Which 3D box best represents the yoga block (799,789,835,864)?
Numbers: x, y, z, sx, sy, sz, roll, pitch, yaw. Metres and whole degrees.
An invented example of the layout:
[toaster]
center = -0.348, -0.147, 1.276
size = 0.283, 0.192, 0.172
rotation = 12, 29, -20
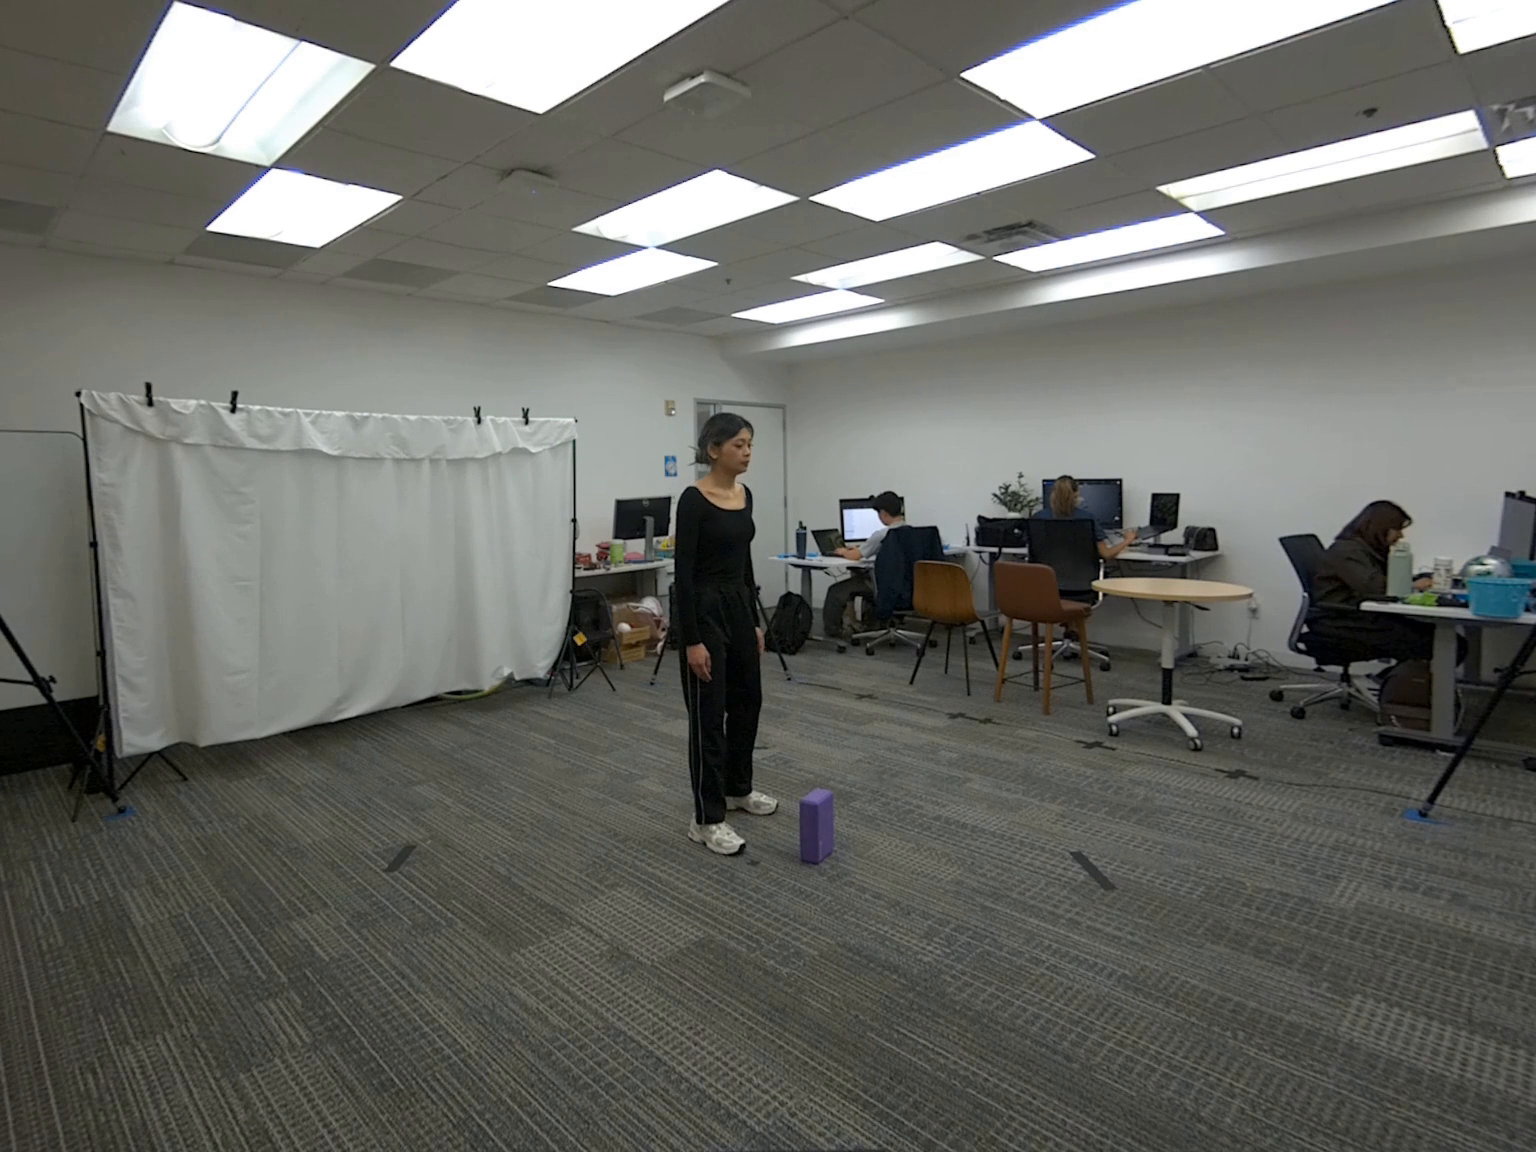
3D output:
[yoga block]
center = 0.181, 0.917, 3.146
size = 0.078, 0.228, 0.146
rotation = 1, 5, 26
